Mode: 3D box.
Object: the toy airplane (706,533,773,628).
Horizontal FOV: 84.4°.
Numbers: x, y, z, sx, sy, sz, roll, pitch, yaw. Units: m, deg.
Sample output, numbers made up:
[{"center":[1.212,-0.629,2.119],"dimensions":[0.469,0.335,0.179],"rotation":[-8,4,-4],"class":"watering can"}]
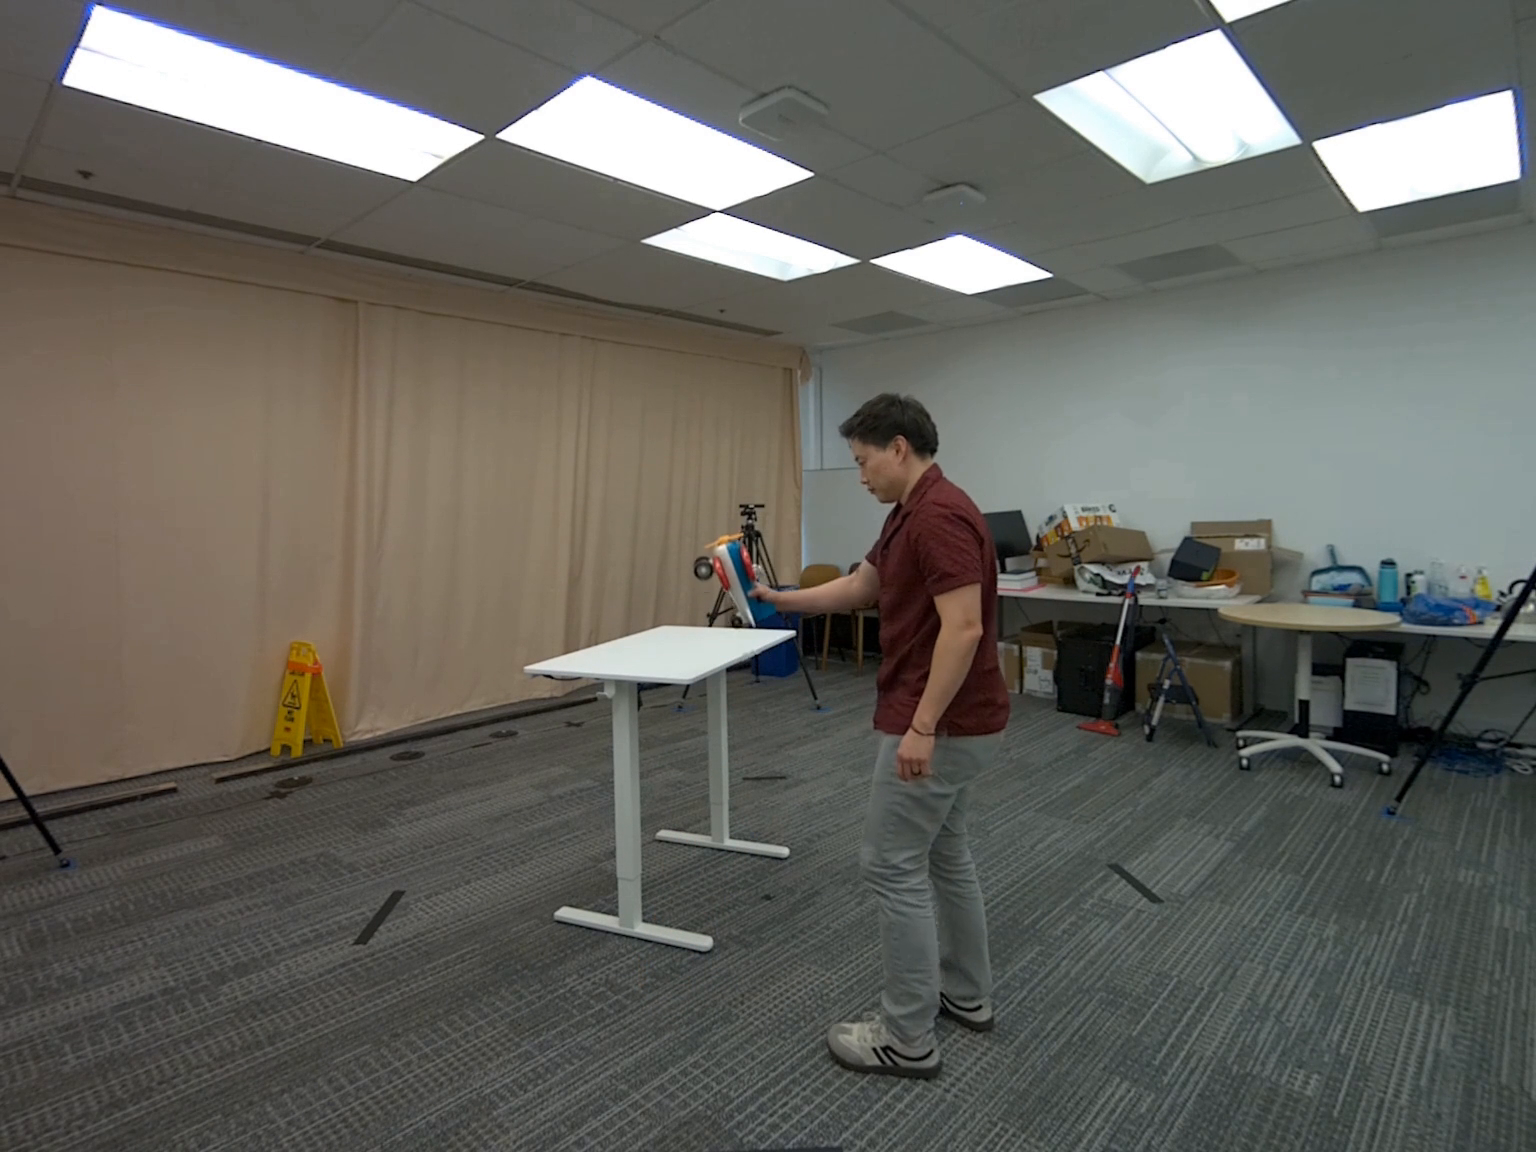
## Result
[{"center":[-0.091,0.009,2.359],"dimensions":[0.156,0.251,0.259],"rotation":[-36,37,2],"class":"toy airplane"}]
